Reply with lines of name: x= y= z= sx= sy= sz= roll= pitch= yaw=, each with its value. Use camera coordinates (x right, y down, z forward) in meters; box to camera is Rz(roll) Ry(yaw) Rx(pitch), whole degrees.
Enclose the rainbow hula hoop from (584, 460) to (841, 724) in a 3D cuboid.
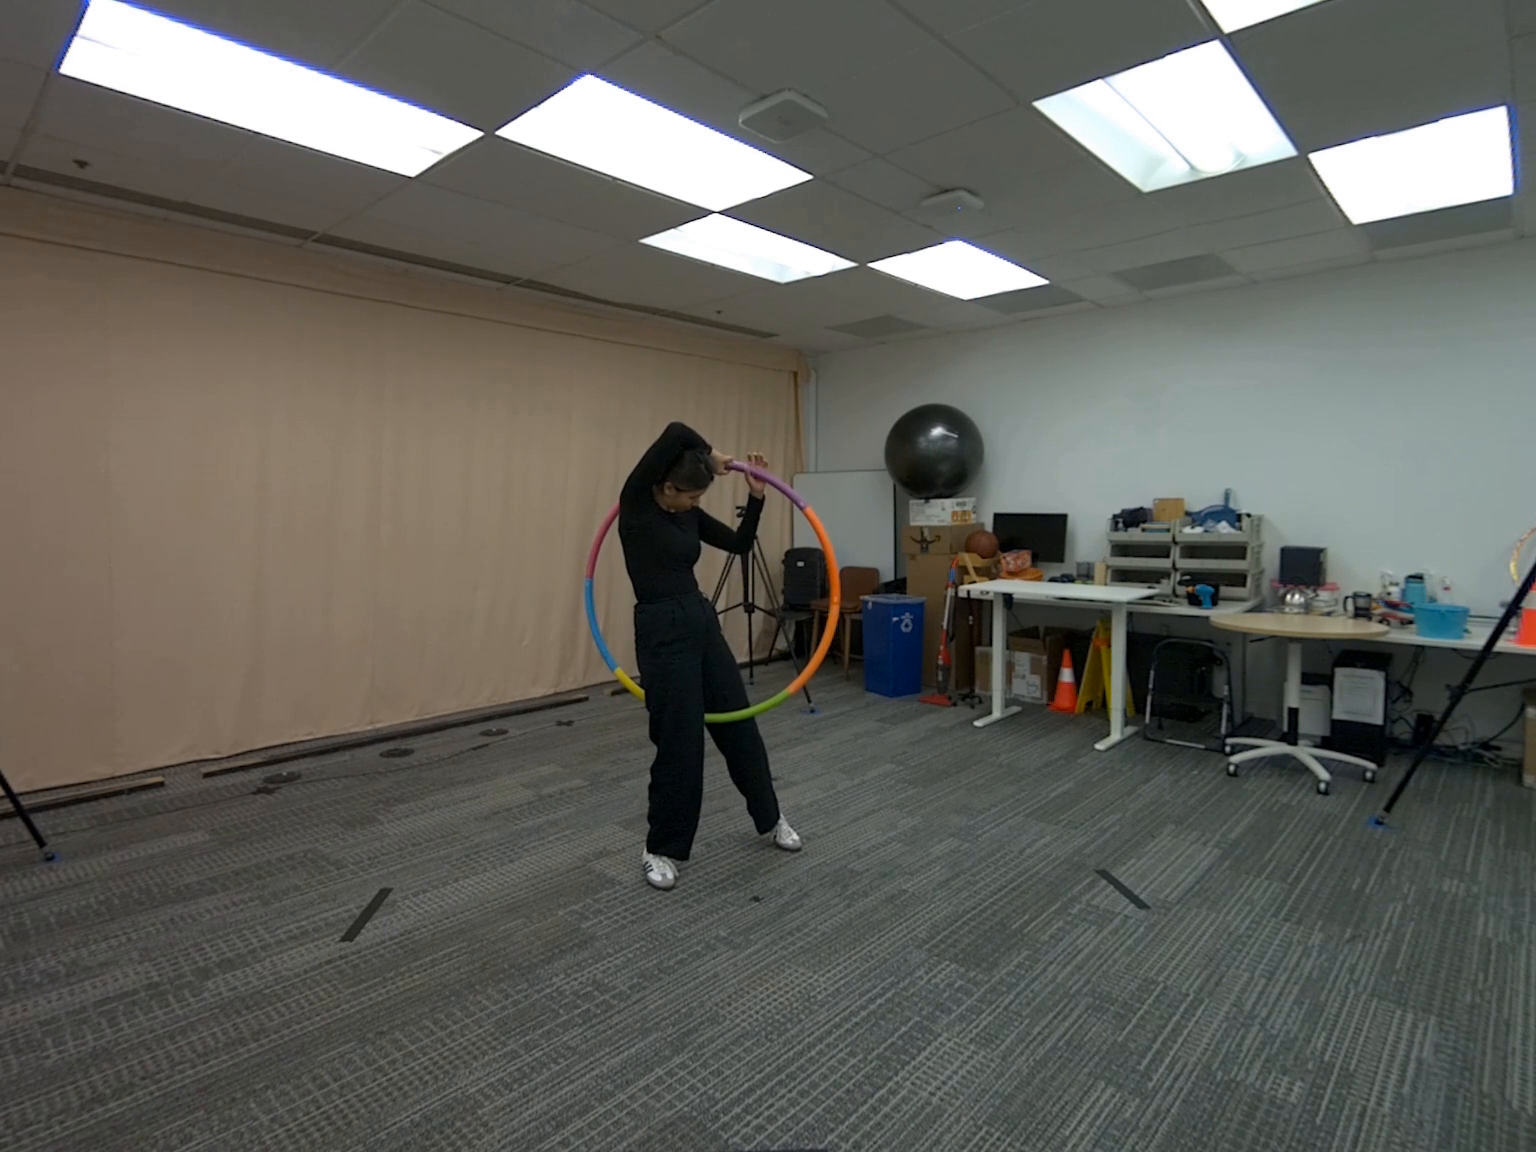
rainbow hula hoop: x=-0.211 y=0.055 z=3.177 sx=0.990 sy=0.978 sz=0.035 roll=1 pitch=0 yaw=11
